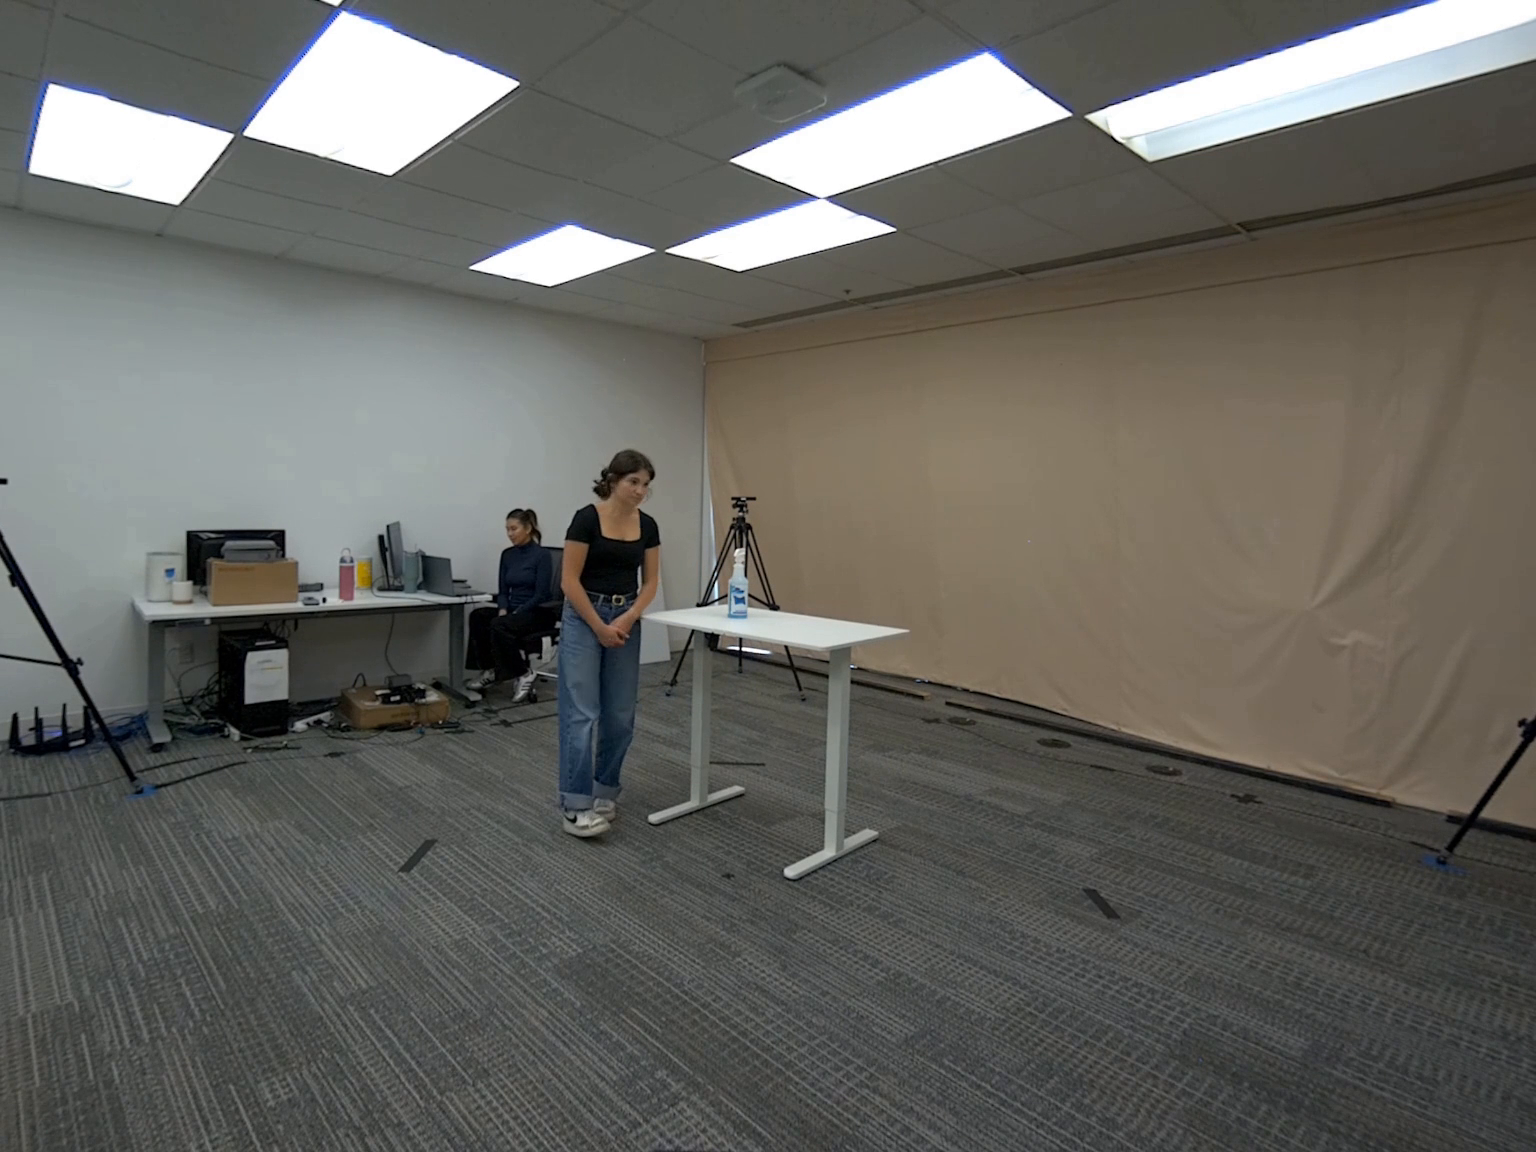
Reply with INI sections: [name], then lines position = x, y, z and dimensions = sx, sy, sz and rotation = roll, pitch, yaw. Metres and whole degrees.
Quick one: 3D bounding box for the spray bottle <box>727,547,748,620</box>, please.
[spray bottle]
position = -0.141, 0.033, 3.634
dimensions = 0.088, 0.296, 0.089
rotation = -2, 5, -40
